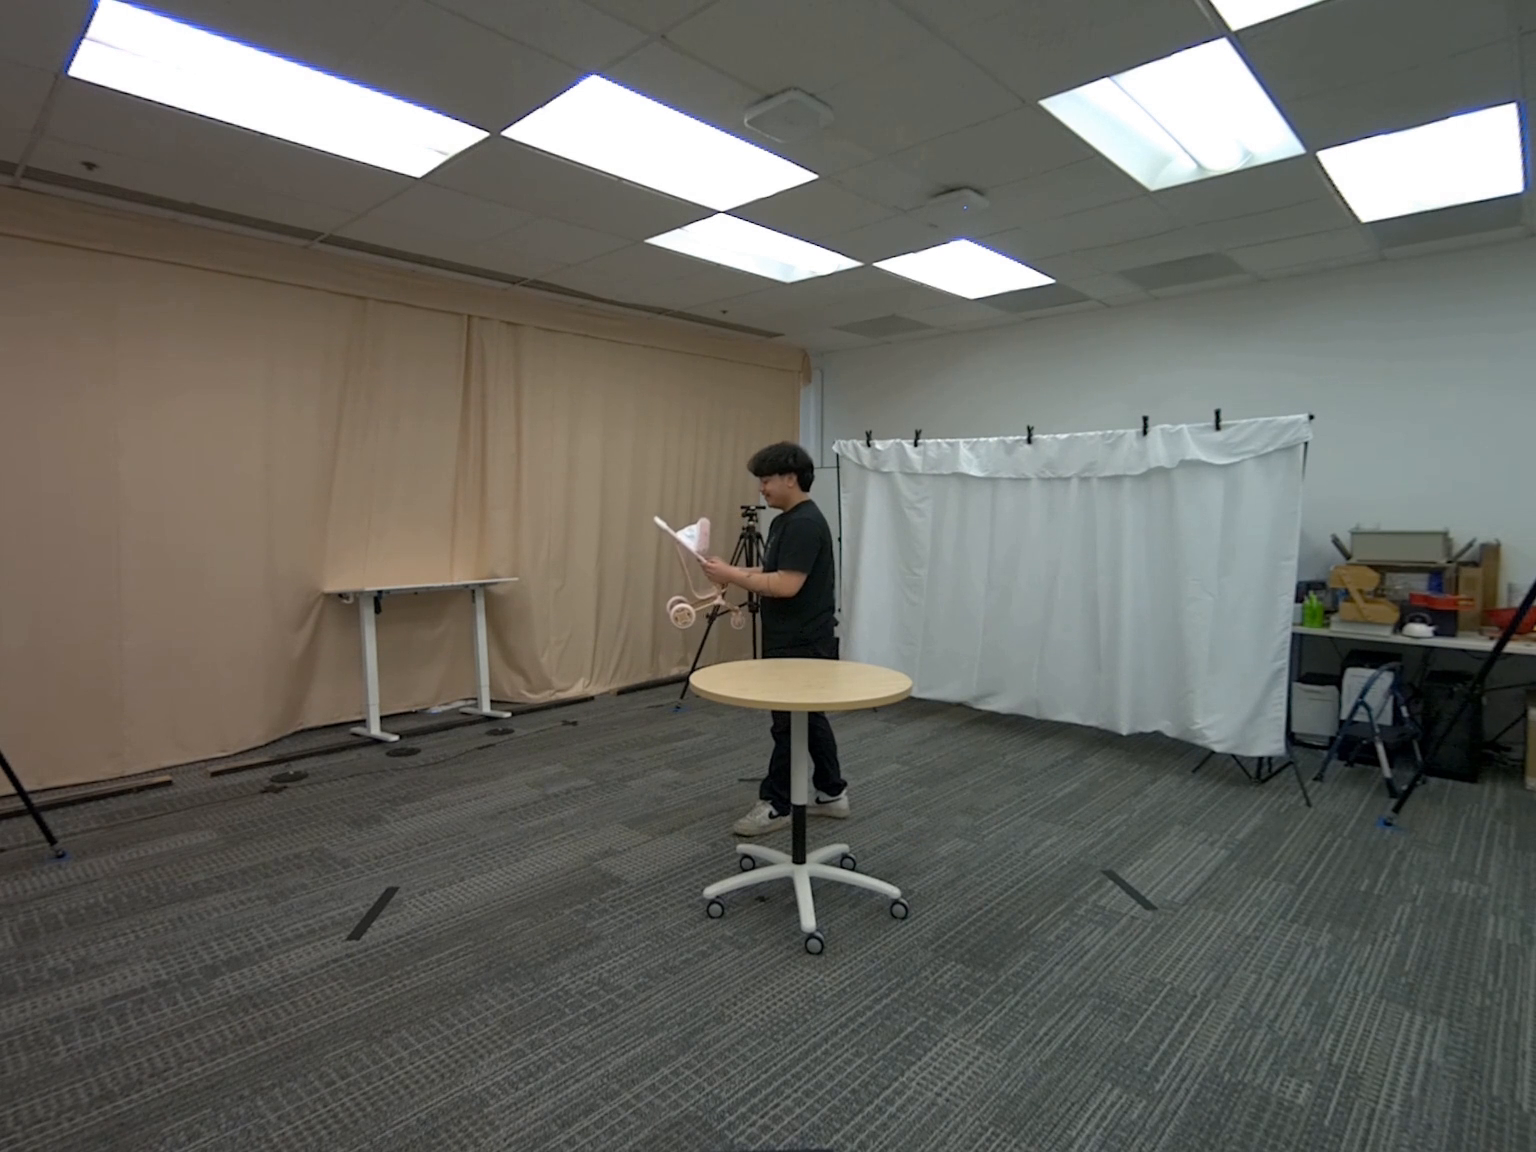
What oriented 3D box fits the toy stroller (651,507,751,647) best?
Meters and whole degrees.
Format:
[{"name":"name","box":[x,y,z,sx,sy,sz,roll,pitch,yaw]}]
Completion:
[{"name":"toy stroller","box":[-0.291,-0.009,3.638,0.341,0.533,0.283,-7,4,-2]}]
